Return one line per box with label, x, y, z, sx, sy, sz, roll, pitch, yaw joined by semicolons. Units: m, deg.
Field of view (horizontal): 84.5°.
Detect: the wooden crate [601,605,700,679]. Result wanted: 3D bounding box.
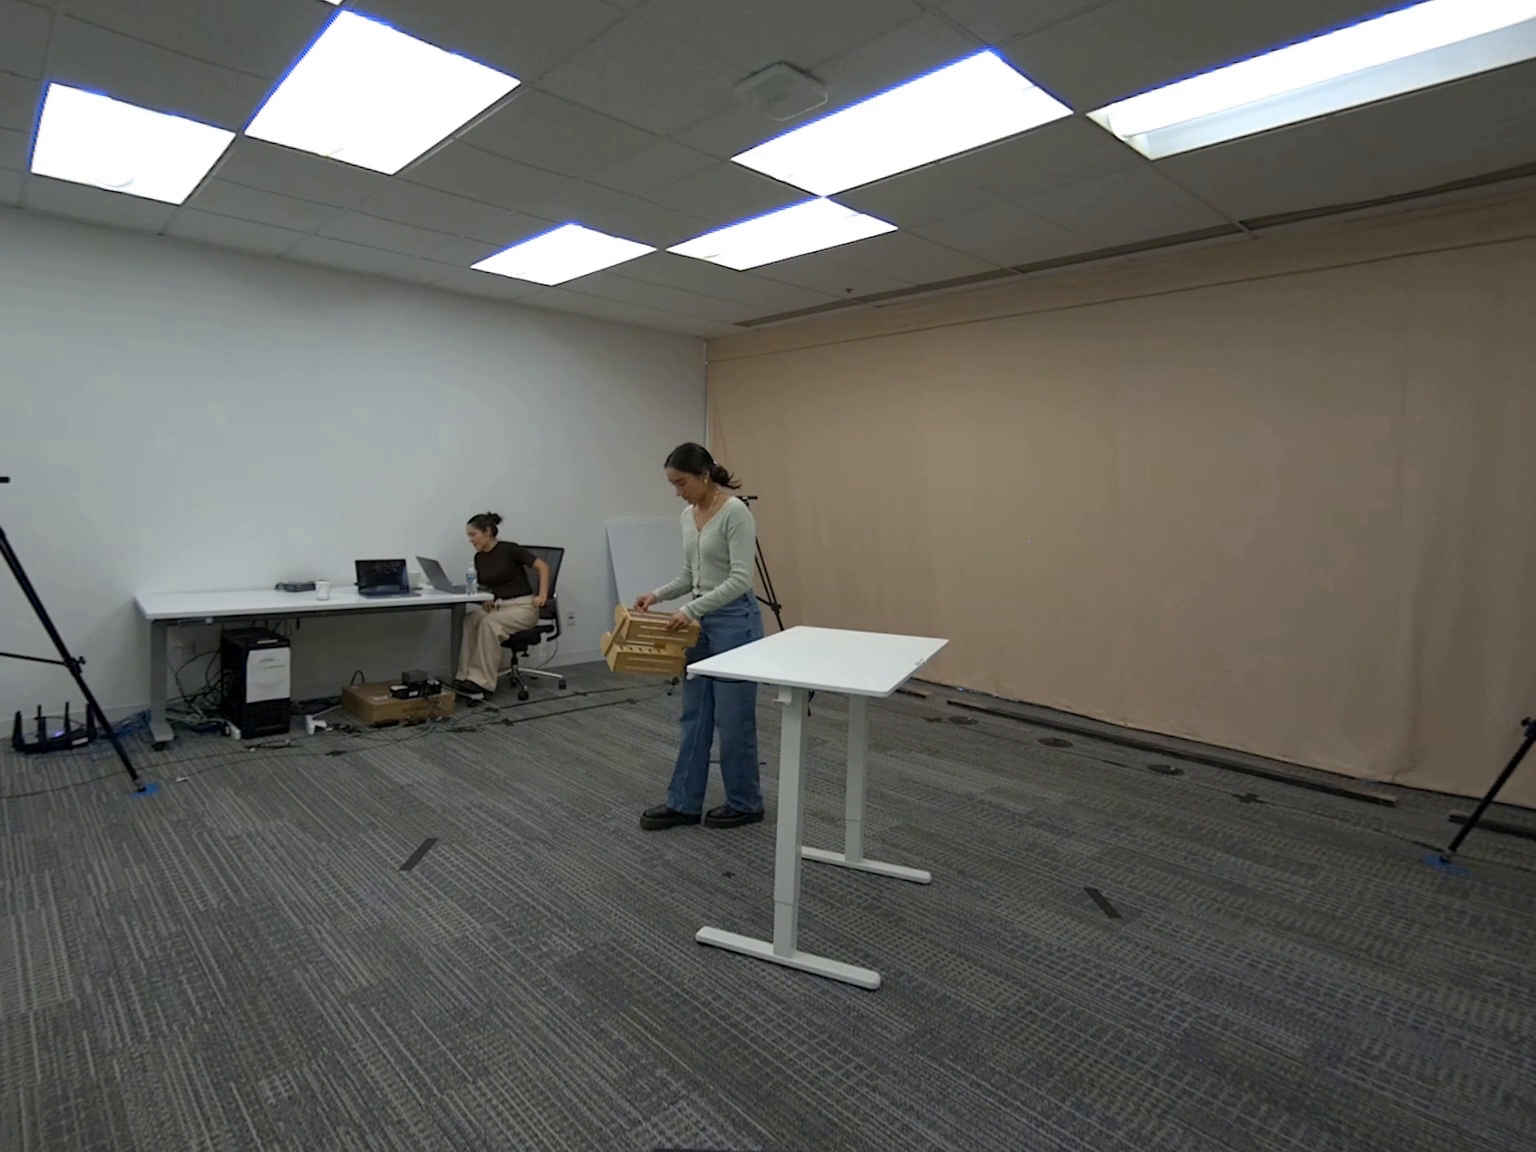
wooden crate;-0.500;0.241;3.476;0.318;0.271;0.310;9;17;-25
